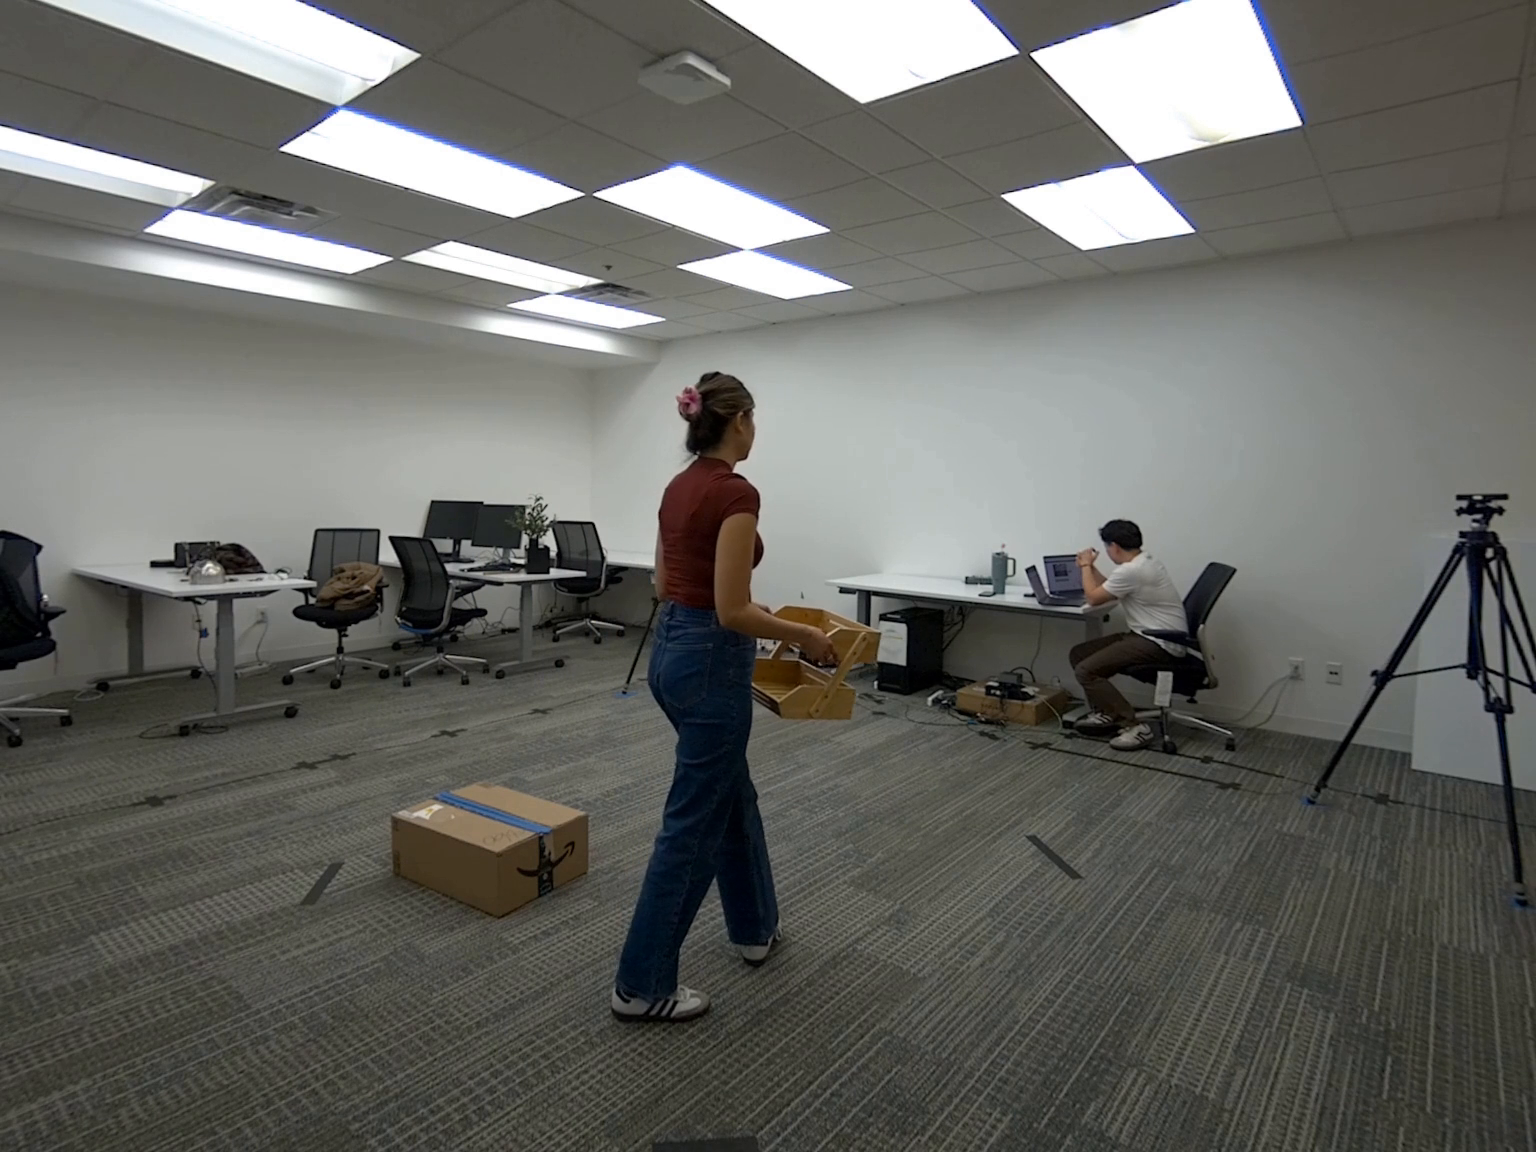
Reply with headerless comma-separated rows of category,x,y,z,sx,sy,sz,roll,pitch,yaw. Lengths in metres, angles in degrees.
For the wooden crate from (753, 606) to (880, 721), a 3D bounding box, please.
wooden crate,0.085,0.240,2.483,0.293,0.272,0.335,7,7,-30
